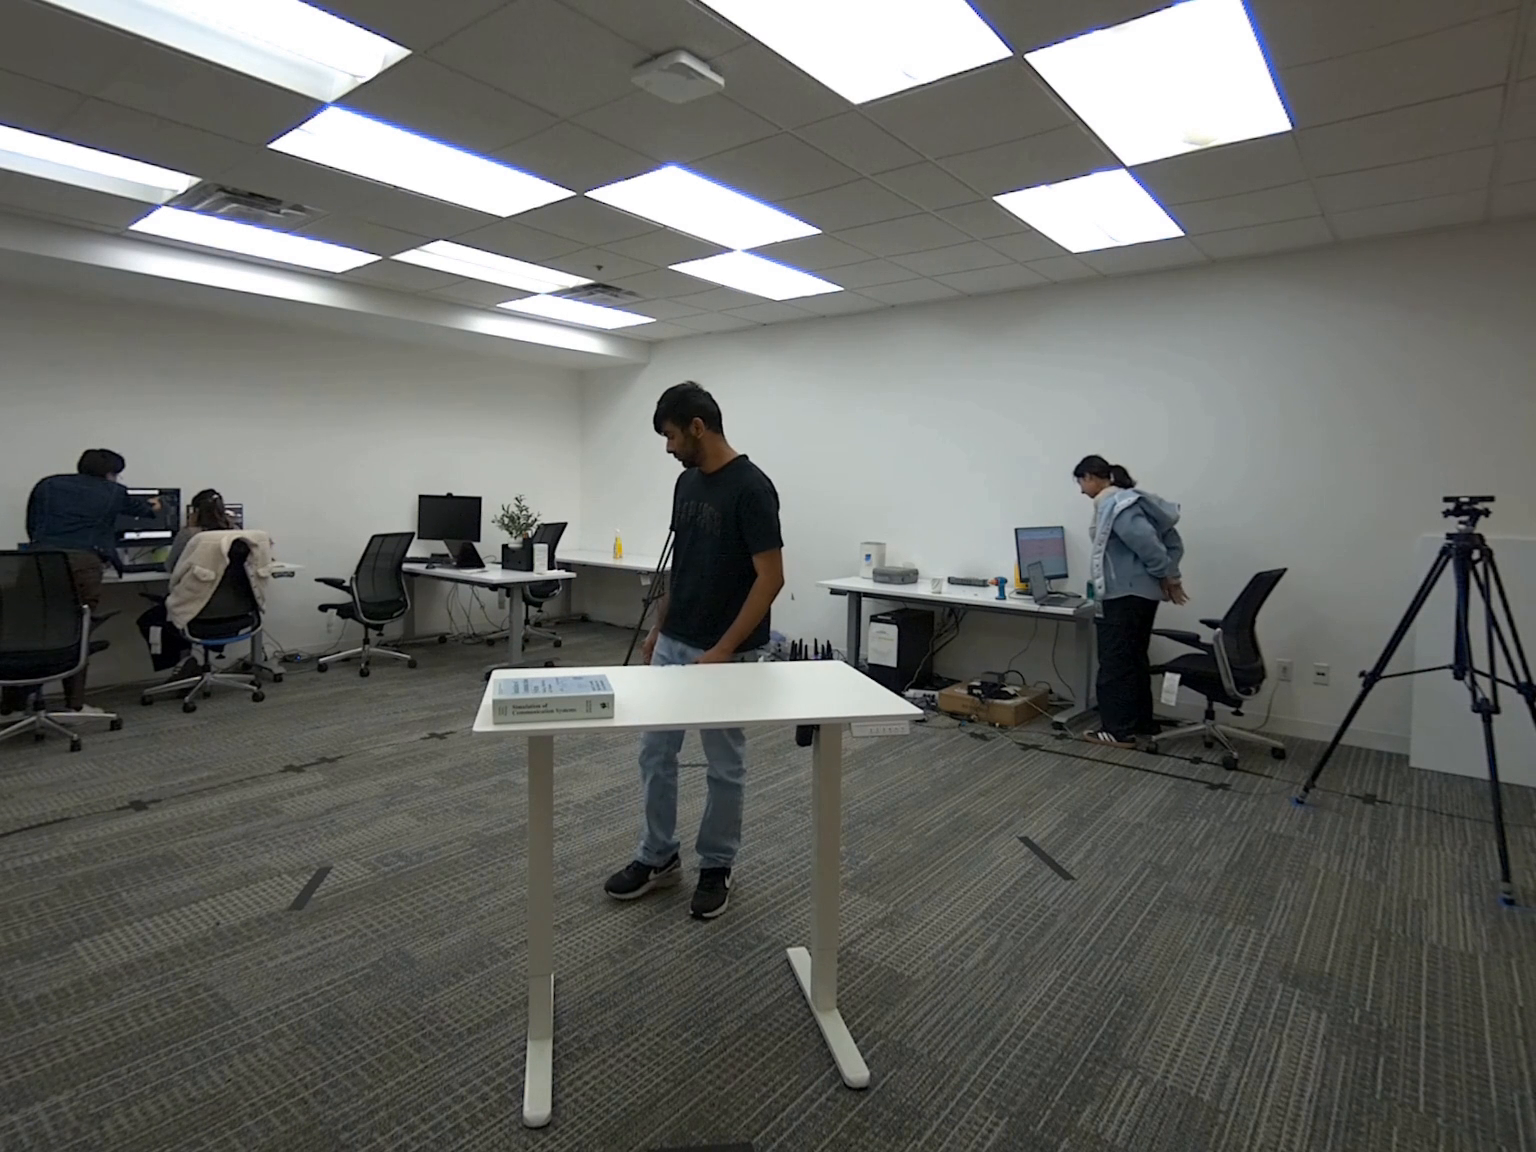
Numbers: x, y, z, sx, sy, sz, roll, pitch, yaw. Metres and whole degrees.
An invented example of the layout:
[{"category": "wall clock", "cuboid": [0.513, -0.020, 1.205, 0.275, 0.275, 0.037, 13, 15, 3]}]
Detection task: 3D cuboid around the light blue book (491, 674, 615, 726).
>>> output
[{"category": "light blue book", "cuboid": [-0.493, 0.271, 1.935, 0.257, 0.059, 0.195, -1, 7, -16]}]
